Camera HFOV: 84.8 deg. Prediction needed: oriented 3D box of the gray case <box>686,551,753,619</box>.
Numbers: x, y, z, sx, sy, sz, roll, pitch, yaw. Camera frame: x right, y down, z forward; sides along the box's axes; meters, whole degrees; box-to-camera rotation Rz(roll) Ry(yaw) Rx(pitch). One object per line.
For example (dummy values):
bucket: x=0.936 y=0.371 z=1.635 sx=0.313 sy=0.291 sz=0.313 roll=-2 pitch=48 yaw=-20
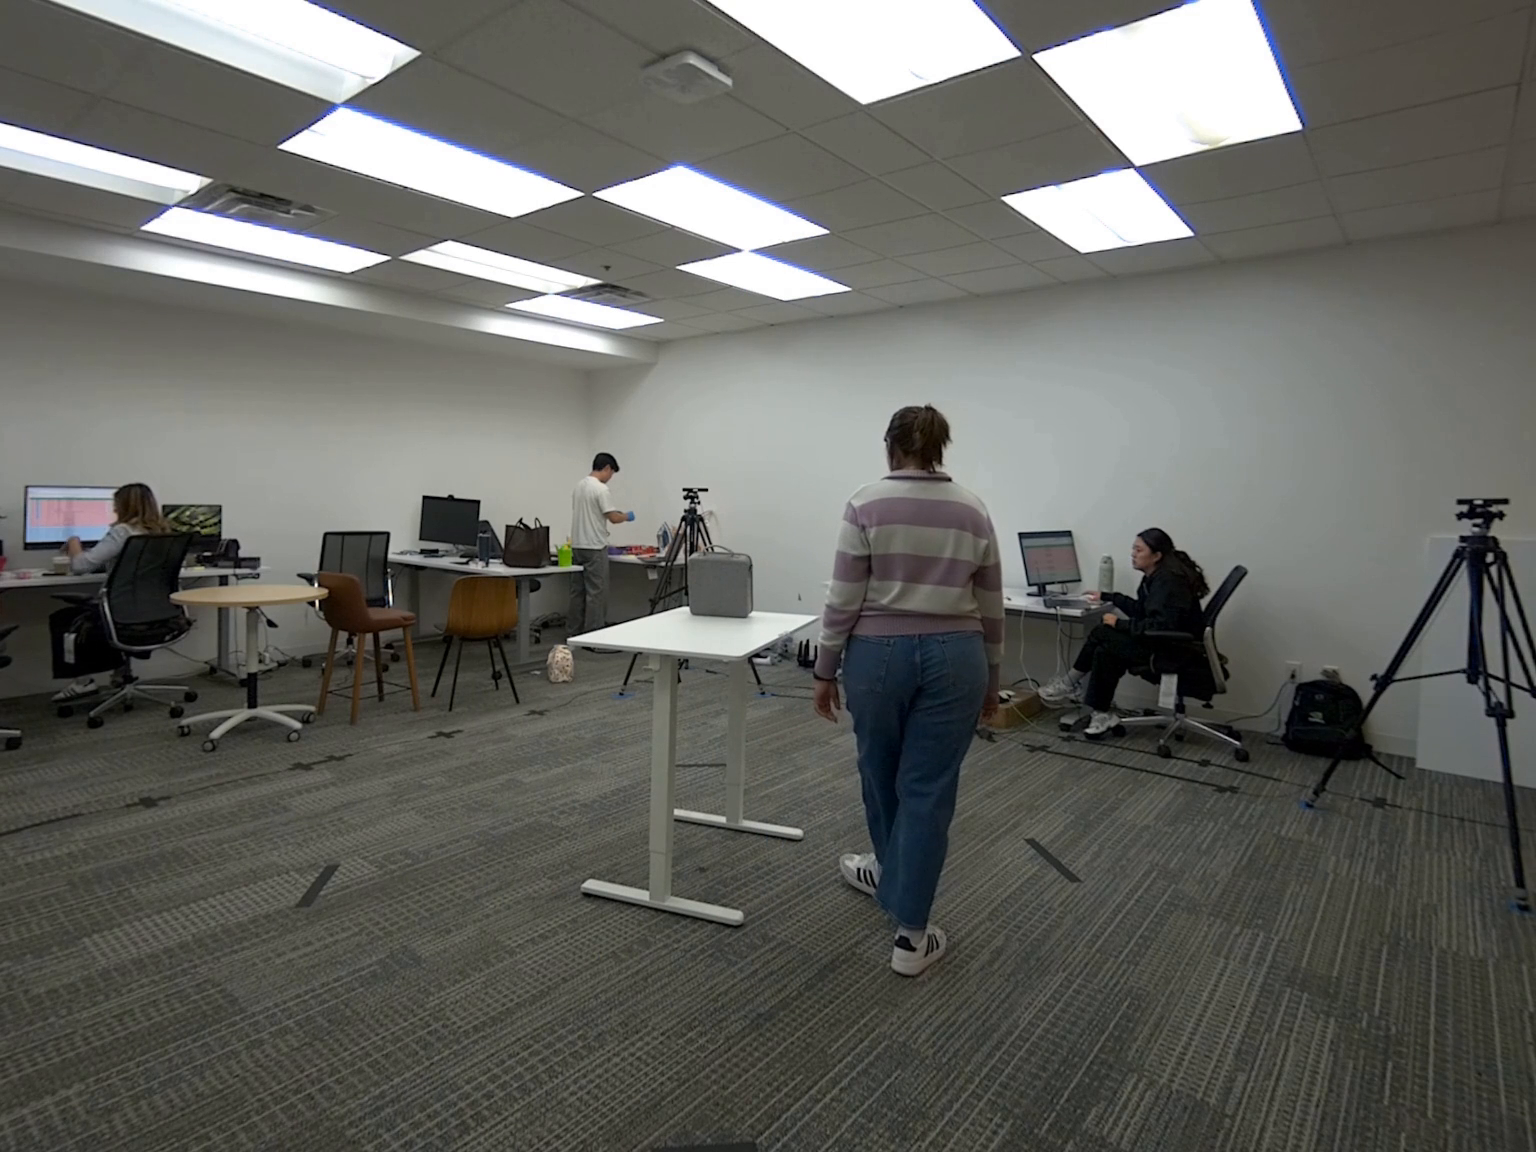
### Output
gray case: x=-0.202 y=0.027 z=3.420 sx=0.261 sy=0.257 sz=0.104 roll=2 pitch=13 yaw=13
